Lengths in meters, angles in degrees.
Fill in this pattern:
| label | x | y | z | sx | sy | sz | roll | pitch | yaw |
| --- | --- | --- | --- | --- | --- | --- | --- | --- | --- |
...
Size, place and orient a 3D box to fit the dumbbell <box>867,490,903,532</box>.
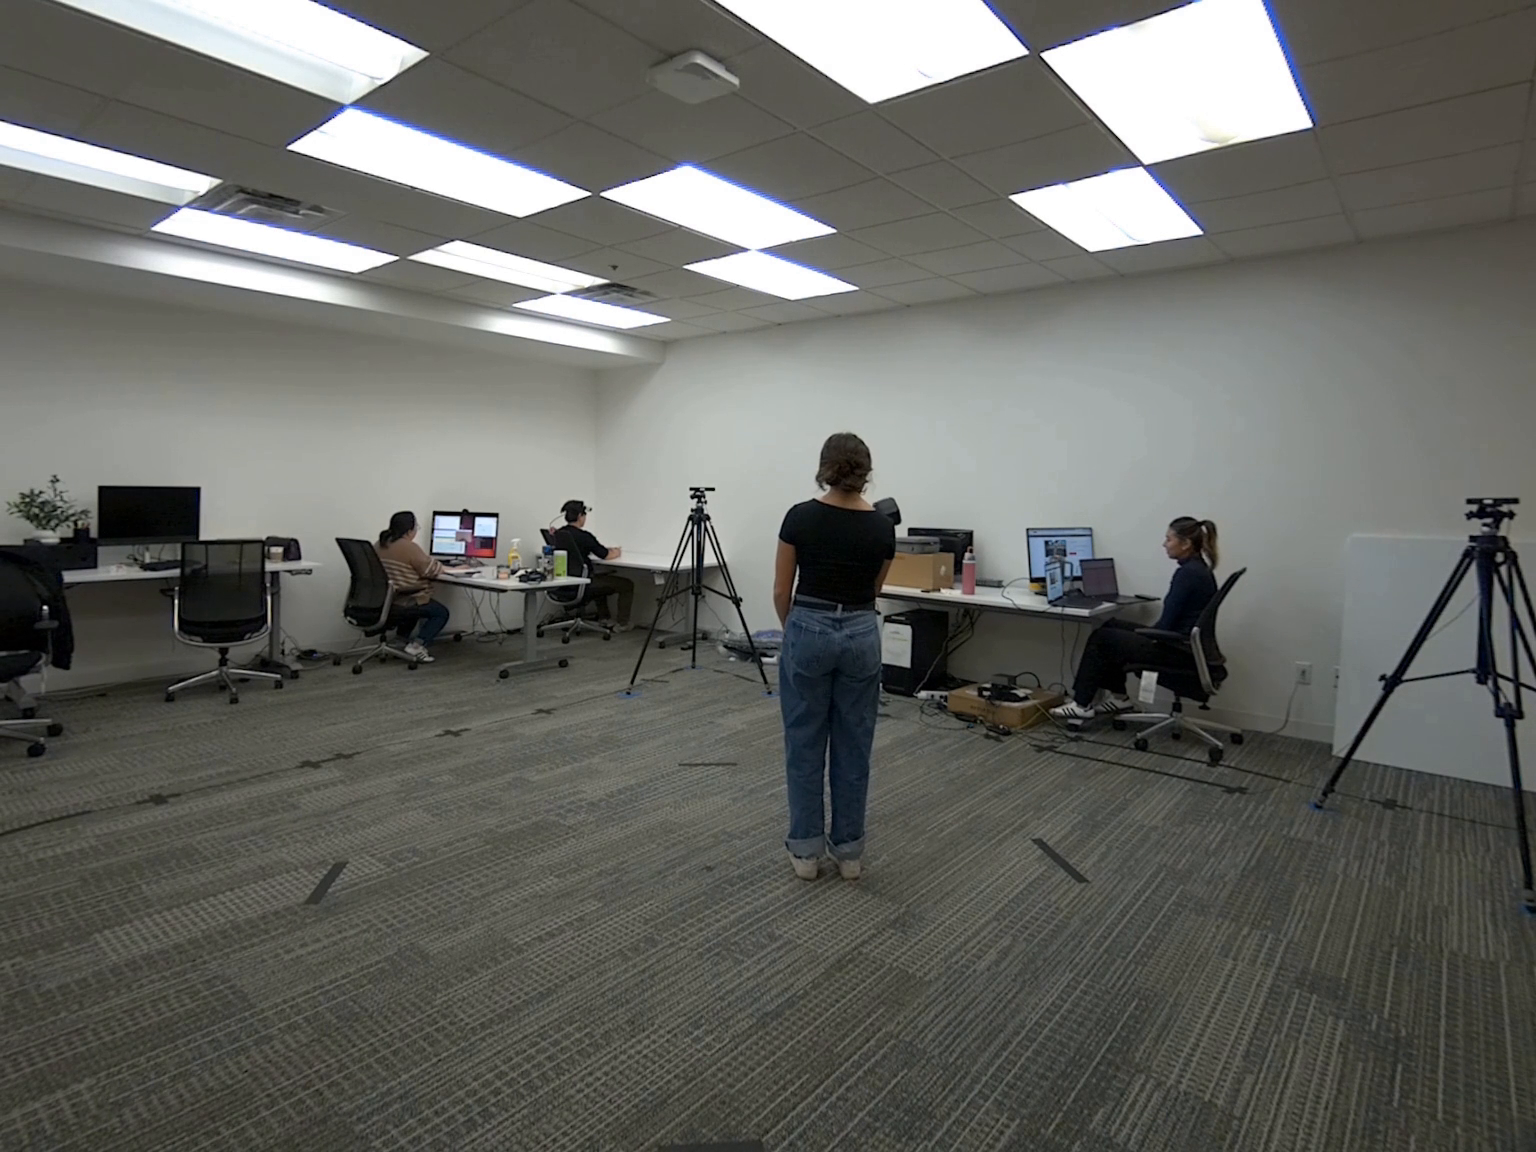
| label | x | y | z | sx | sy | sz | roll | pitch | yaw |
| --- | --- | --- | --- | --- | --- | --- | --- | --- | --- |
| dumbbell | 0.352 | -0.204 | 3.238 | 0.293 | 0.127 | 0.105 | -20 | -27 | -1 |
